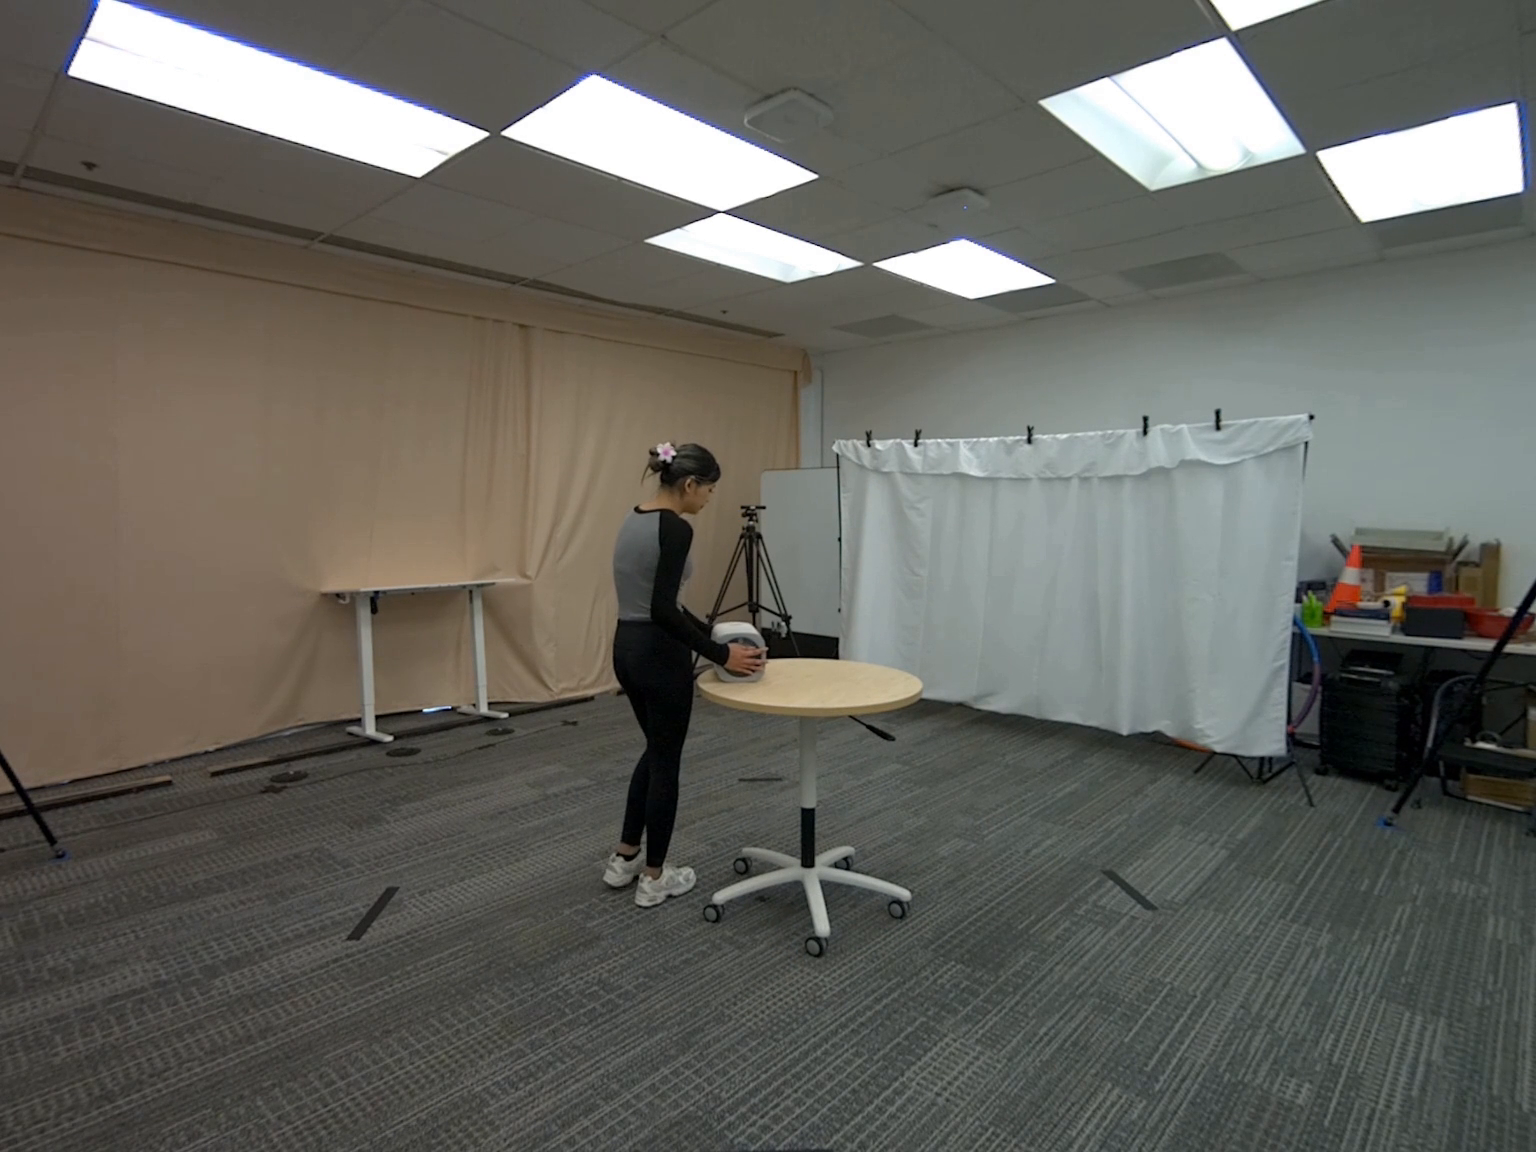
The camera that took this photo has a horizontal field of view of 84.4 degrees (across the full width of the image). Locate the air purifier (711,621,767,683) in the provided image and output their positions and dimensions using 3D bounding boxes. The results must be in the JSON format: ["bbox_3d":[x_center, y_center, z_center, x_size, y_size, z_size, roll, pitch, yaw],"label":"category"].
[{"bbox_3d":[-0.106,0.263,2.980,0.170,0.171,0.267,-3,5,-6],"label":"air purifier"}]
